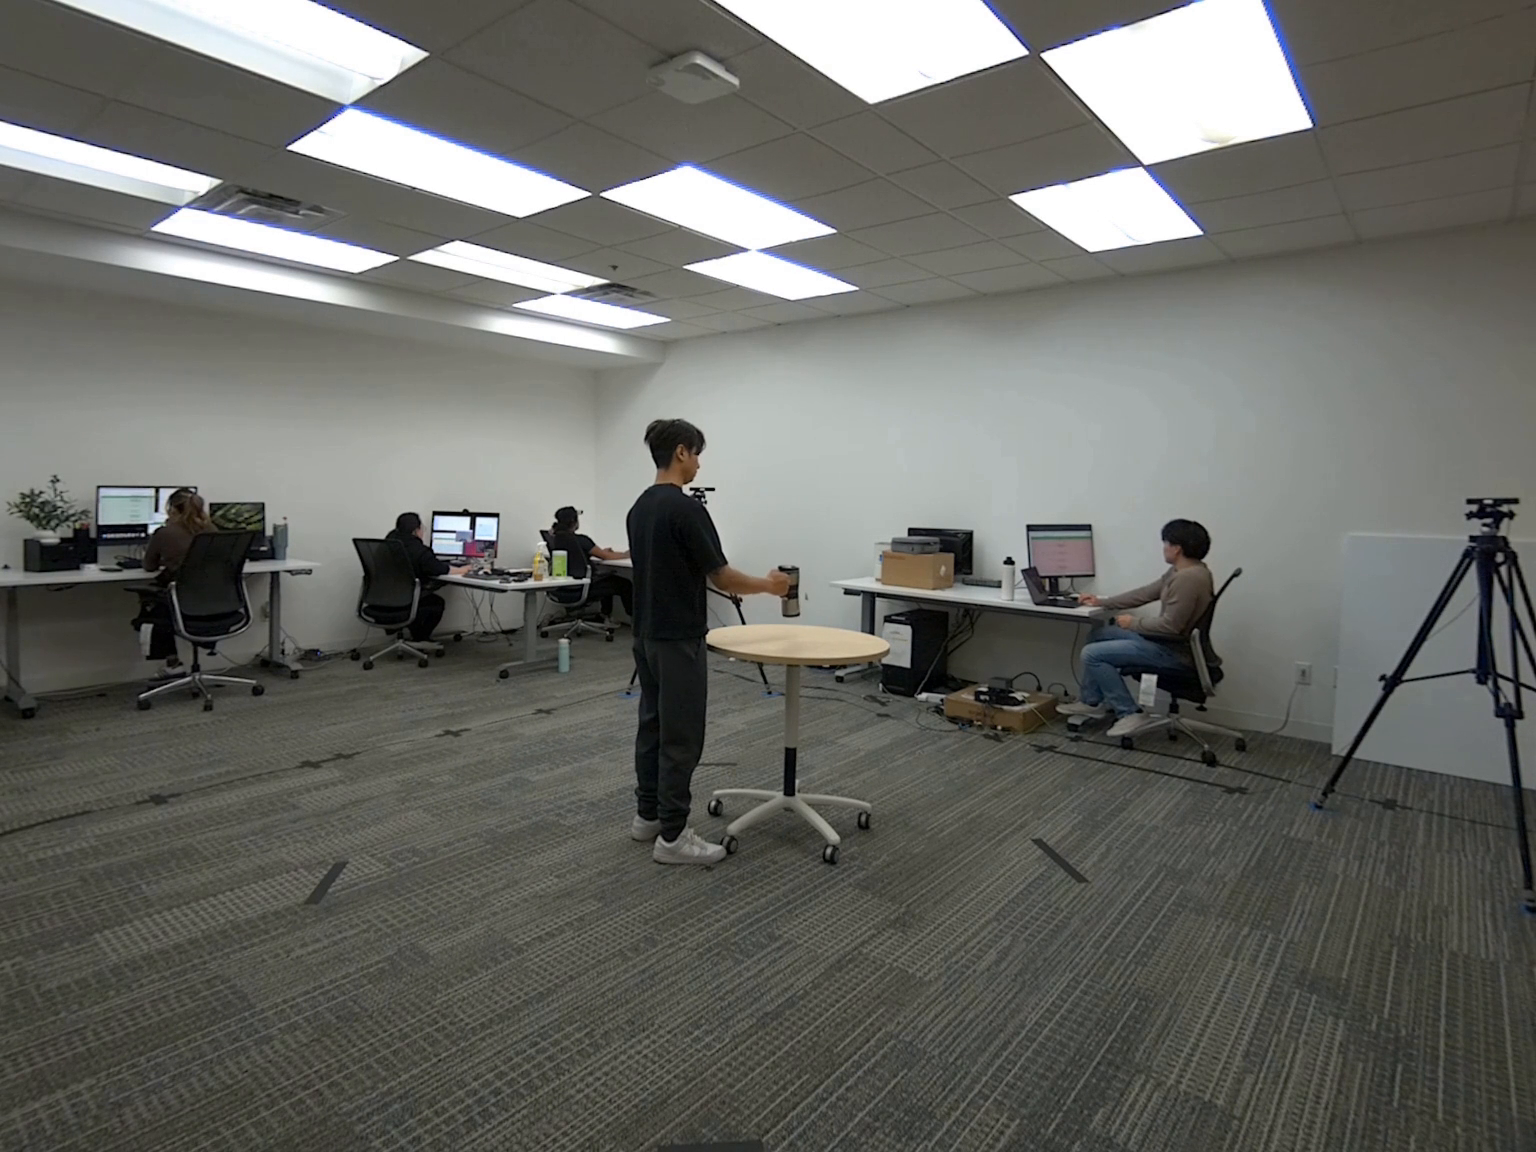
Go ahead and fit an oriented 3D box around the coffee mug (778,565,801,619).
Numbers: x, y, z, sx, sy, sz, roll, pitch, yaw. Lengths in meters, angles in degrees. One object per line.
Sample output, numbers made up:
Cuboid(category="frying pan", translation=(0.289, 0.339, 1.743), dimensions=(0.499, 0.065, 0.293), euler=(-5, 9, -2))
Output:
Cuboid(category="coffee mug", translation=(0.054, 0.061, 3.404), dimensions=(0.118, 0.202, 0.091), euler=(-5, 8, -37))
